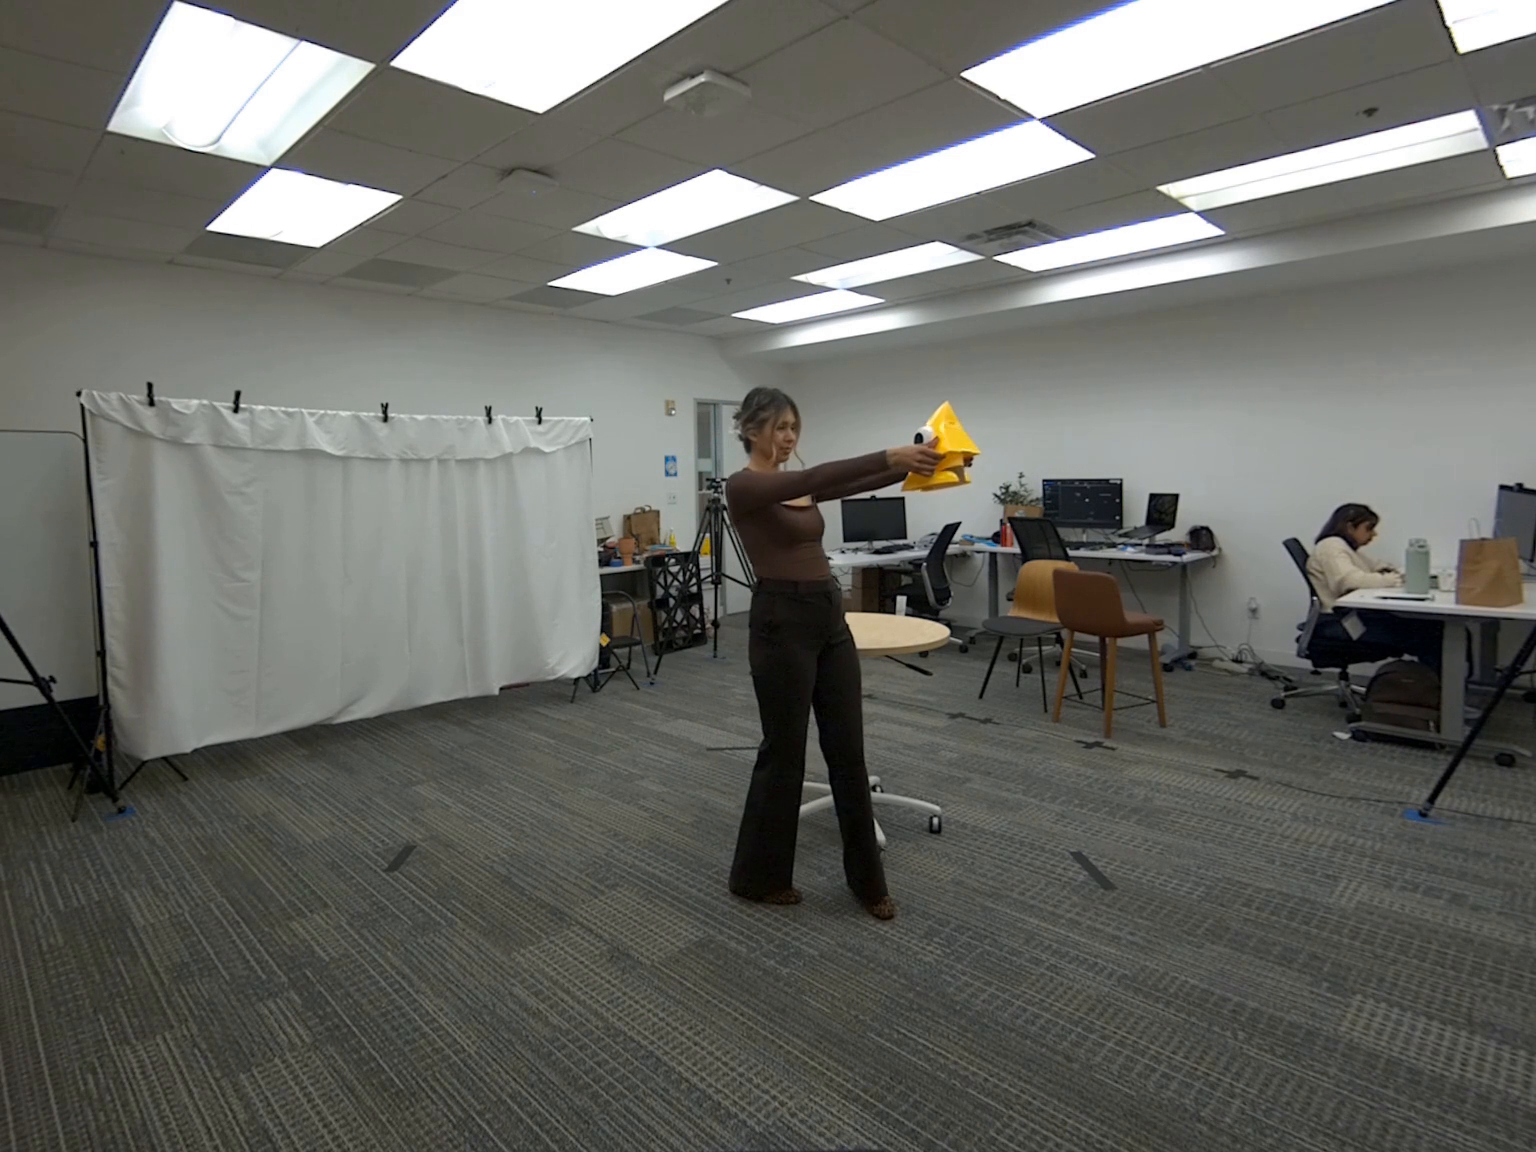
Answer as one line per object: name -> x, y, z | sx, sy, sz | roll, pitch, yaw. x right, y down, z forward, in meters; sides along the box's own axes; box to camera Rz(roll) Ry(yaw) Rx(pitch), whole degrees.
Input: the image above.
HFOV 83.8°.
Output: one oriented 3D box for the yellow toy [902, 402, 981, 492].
yellow toy -> 0.480, -0.371, 2.413 | 0.197, 0.232, 0.199 | -12, -5, 39
